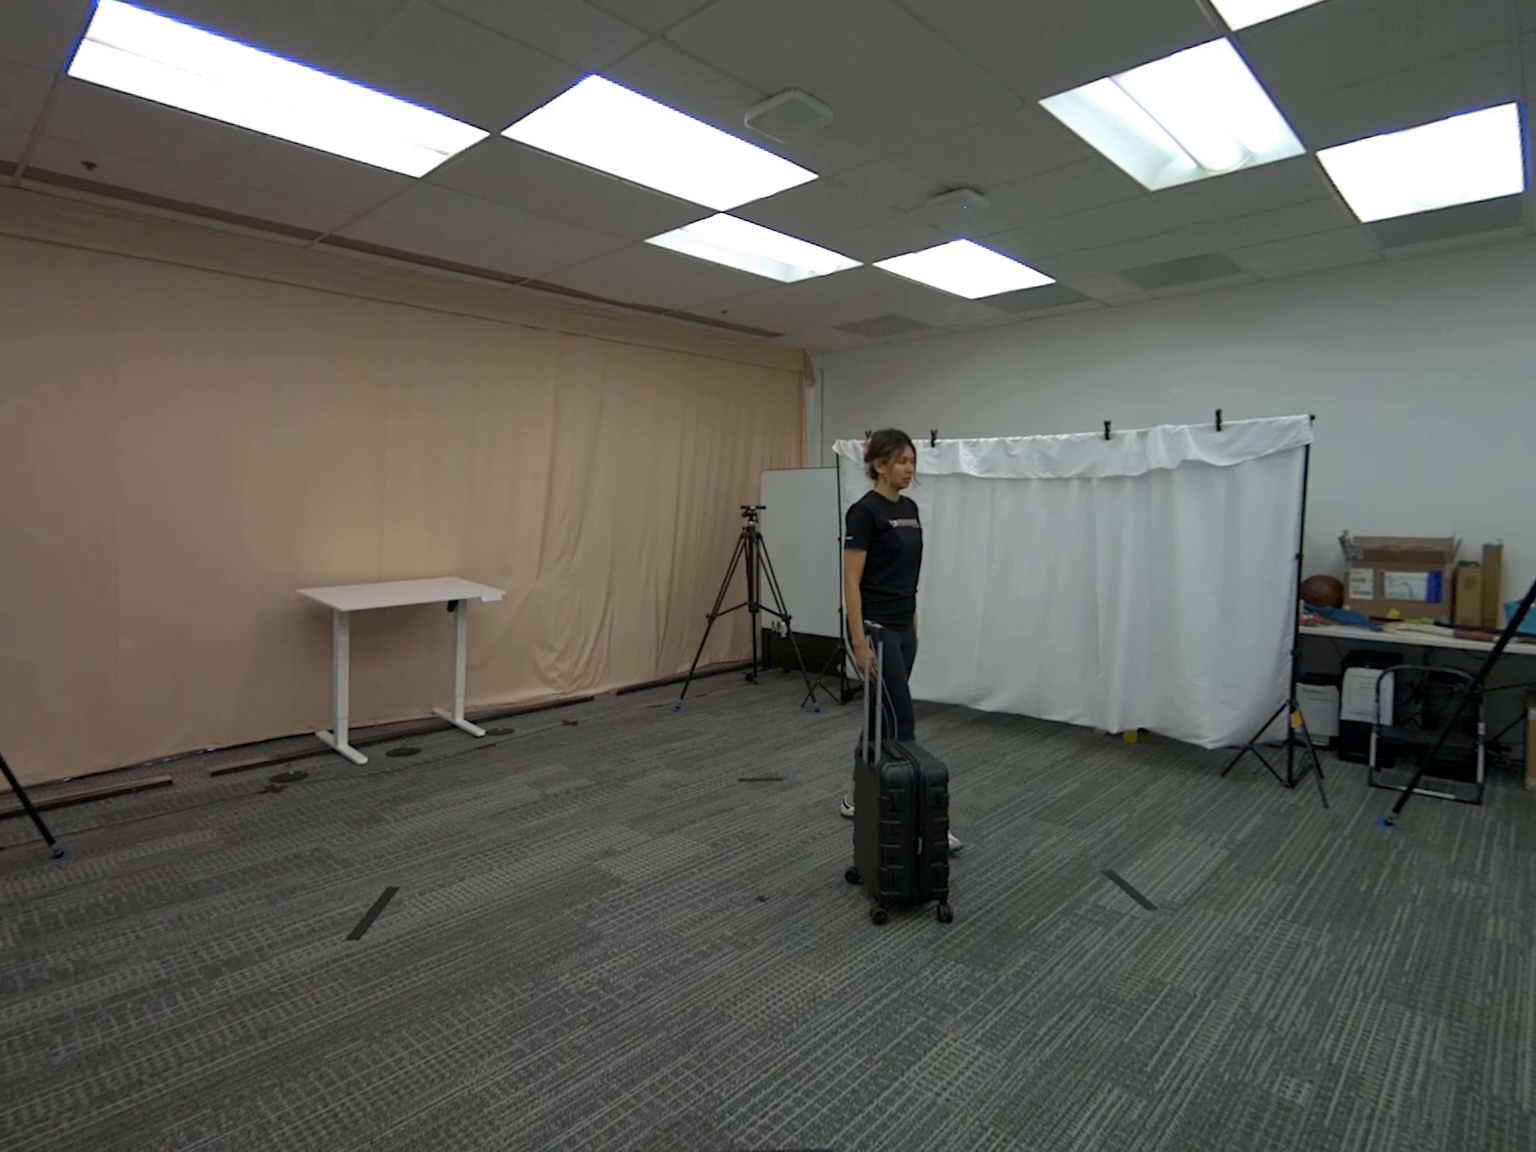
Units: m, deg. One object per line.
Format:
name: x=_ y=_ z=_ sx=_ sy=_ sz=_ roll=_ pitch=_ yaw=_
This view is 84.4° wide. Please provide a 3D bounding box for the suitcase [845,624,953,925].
suitcase: x=0.469 y=0.669 z=2.945 sx=0.255 sy=0.976 sz=0.388 roll=2 pitch=4 yaw=-8
